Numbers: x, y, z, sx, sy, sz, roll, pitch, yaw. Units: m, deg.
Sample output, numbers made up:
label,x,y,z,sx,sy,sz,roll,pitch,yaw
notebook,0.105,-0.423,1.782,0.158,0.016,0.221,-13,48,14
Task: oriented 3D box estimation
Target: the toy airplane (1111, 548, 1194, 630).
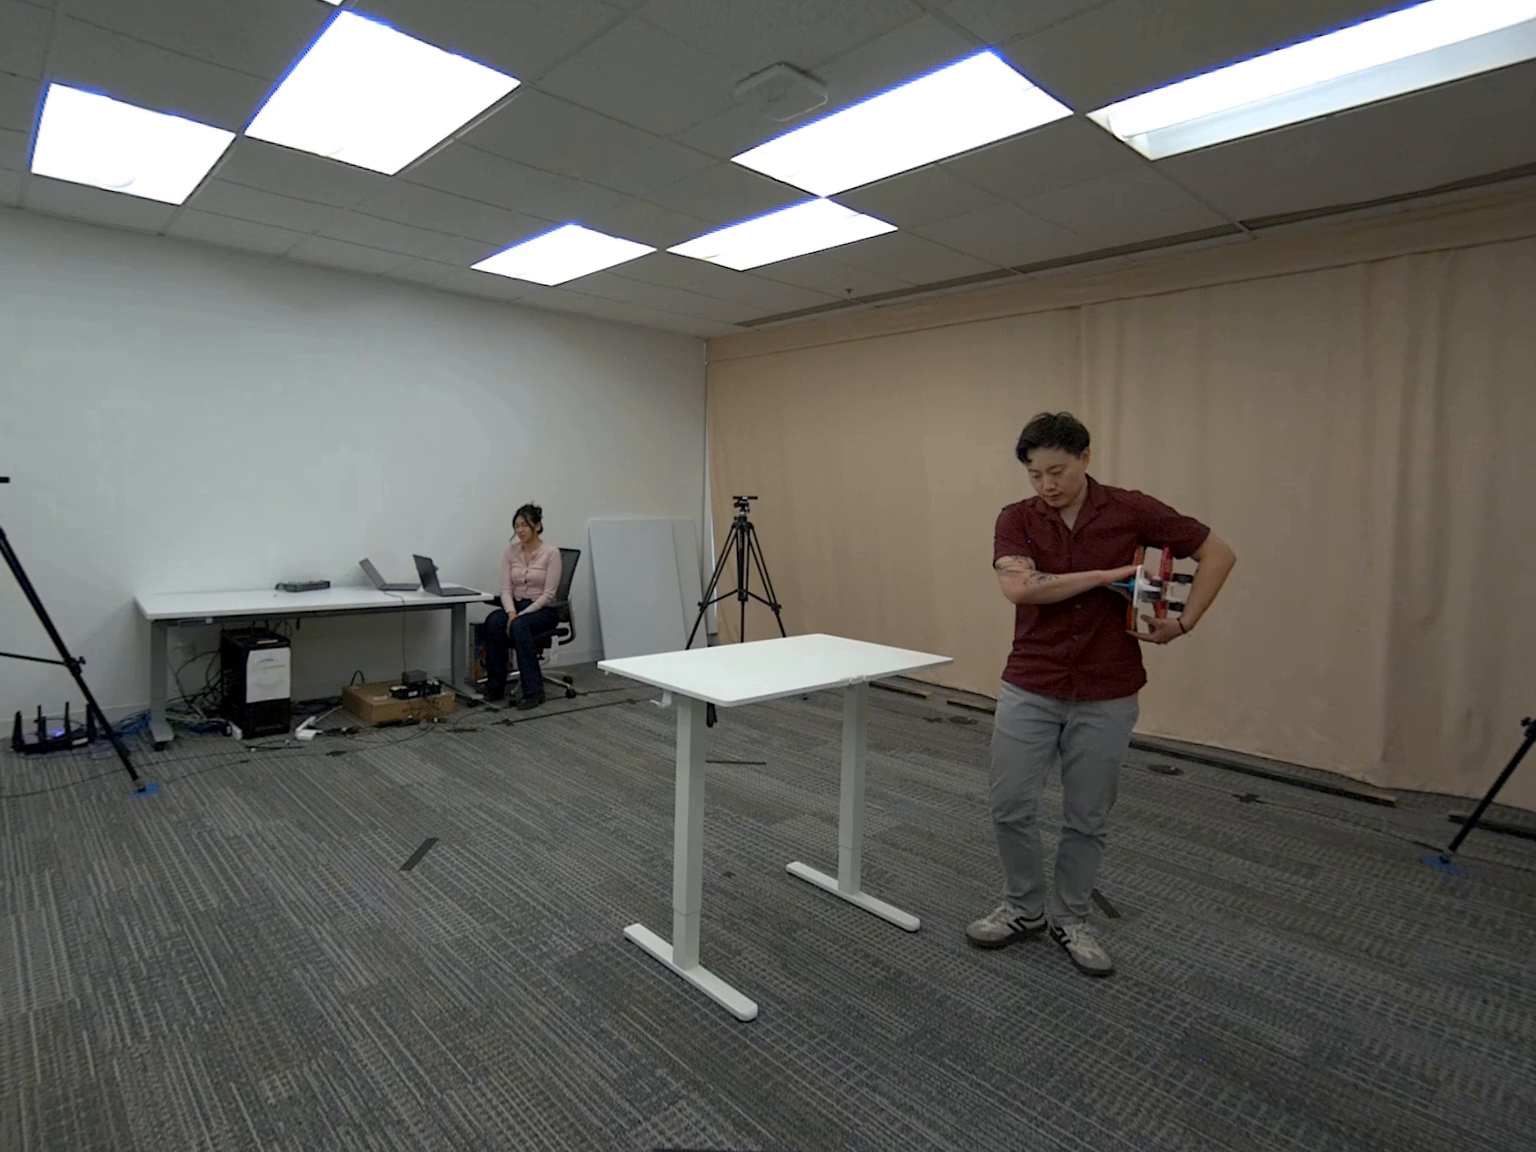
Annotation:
label,x,y,z,sx,sy,sz,roll,pitch,yaw
toy airplane,1.093,0.020,2.444,0.160,0.252,0.251,5,-28,49
